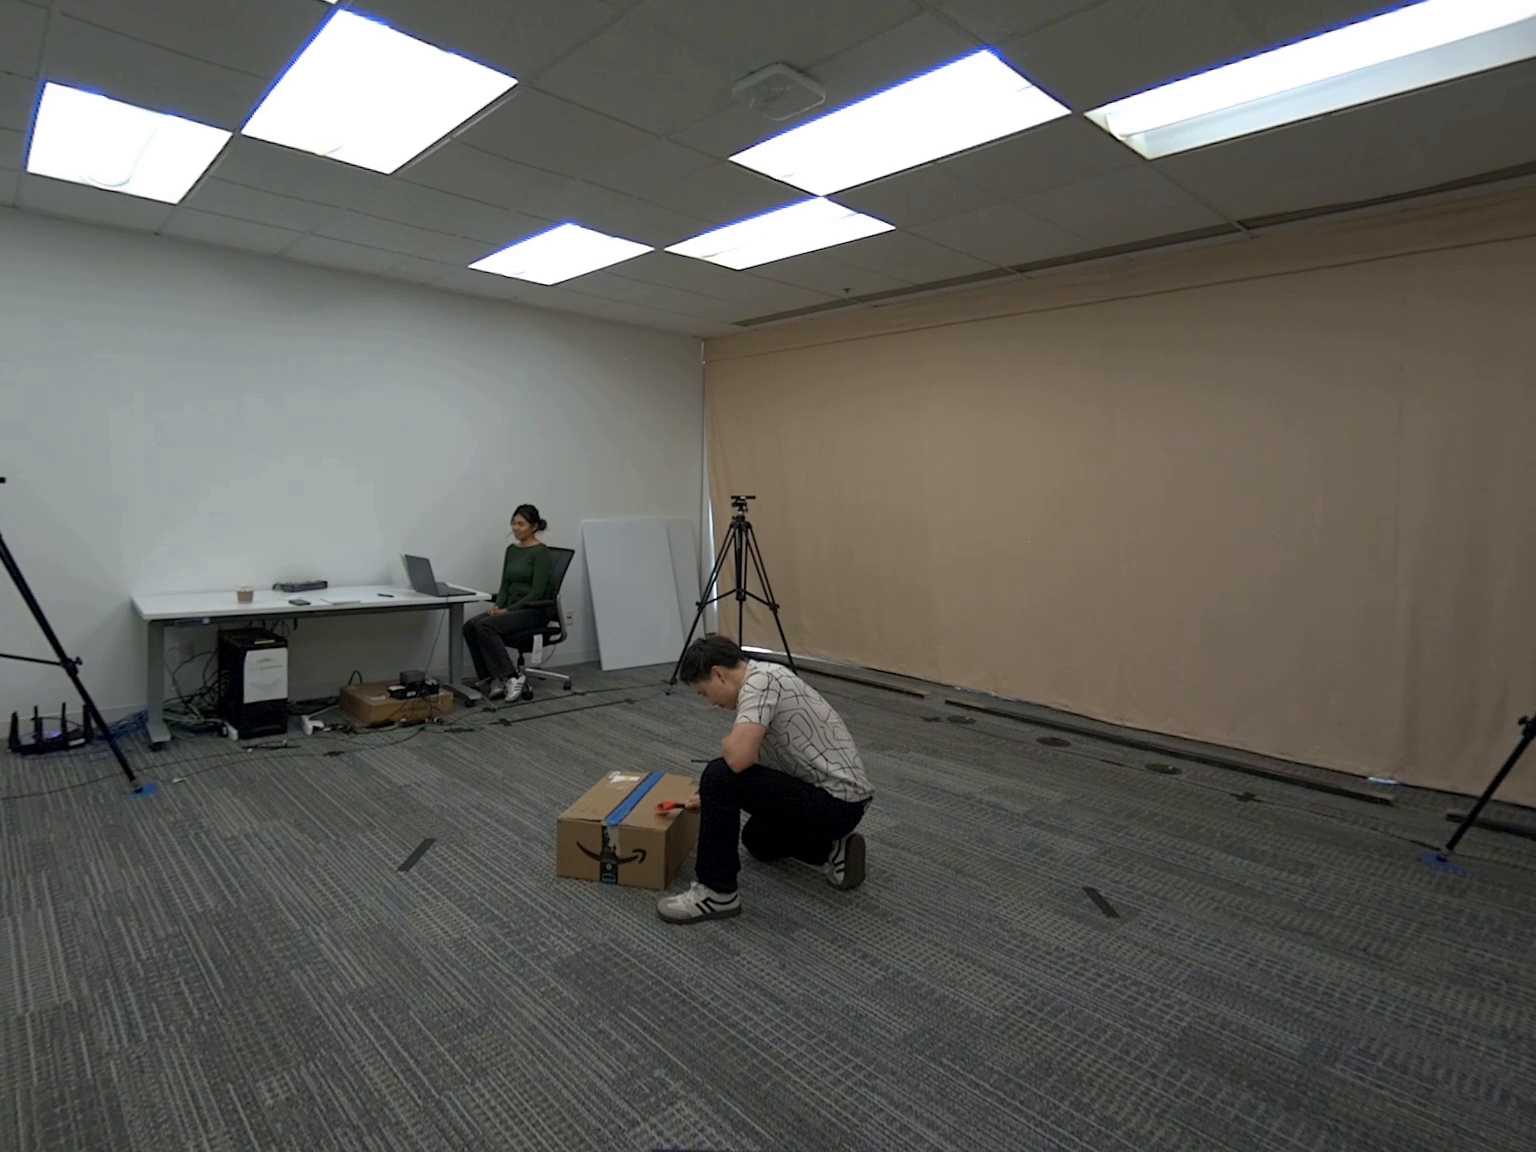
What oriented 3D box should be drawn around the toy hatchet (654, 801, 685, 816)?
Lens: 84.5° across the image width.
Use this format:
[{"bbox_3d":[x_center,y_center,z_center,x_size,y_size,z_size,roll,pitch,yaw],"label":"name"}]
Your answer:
[{"bbox_3d":[-0.325,0.869,3.148,0.132,0.030,0.262,-22,-28,23],"label":"toy hatchet"}]
